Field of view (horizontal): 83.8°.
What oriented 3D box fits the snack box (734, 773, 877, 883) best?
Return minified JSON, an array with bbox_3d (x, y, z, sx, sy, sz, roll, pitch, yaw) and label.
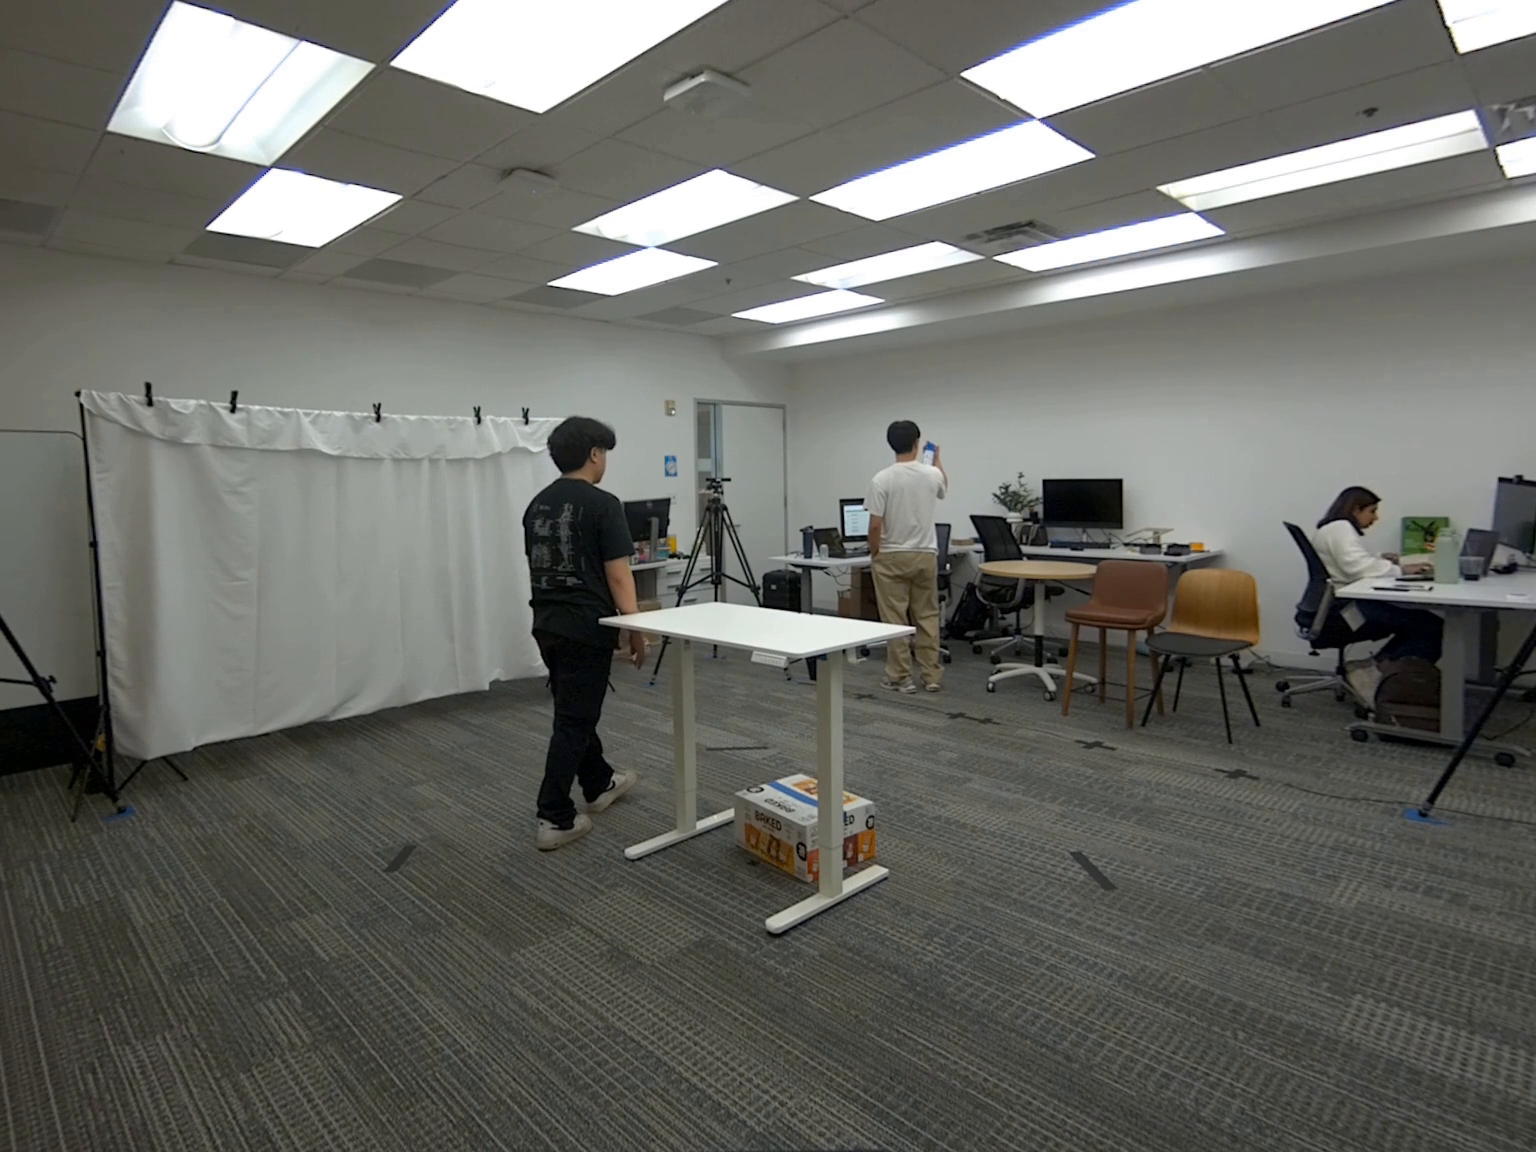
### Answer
[{"bbox_3d":[0.135,0.931,3.188,0.331,0.205,0.417,-5,7,-38],"label":"snack box"}]
